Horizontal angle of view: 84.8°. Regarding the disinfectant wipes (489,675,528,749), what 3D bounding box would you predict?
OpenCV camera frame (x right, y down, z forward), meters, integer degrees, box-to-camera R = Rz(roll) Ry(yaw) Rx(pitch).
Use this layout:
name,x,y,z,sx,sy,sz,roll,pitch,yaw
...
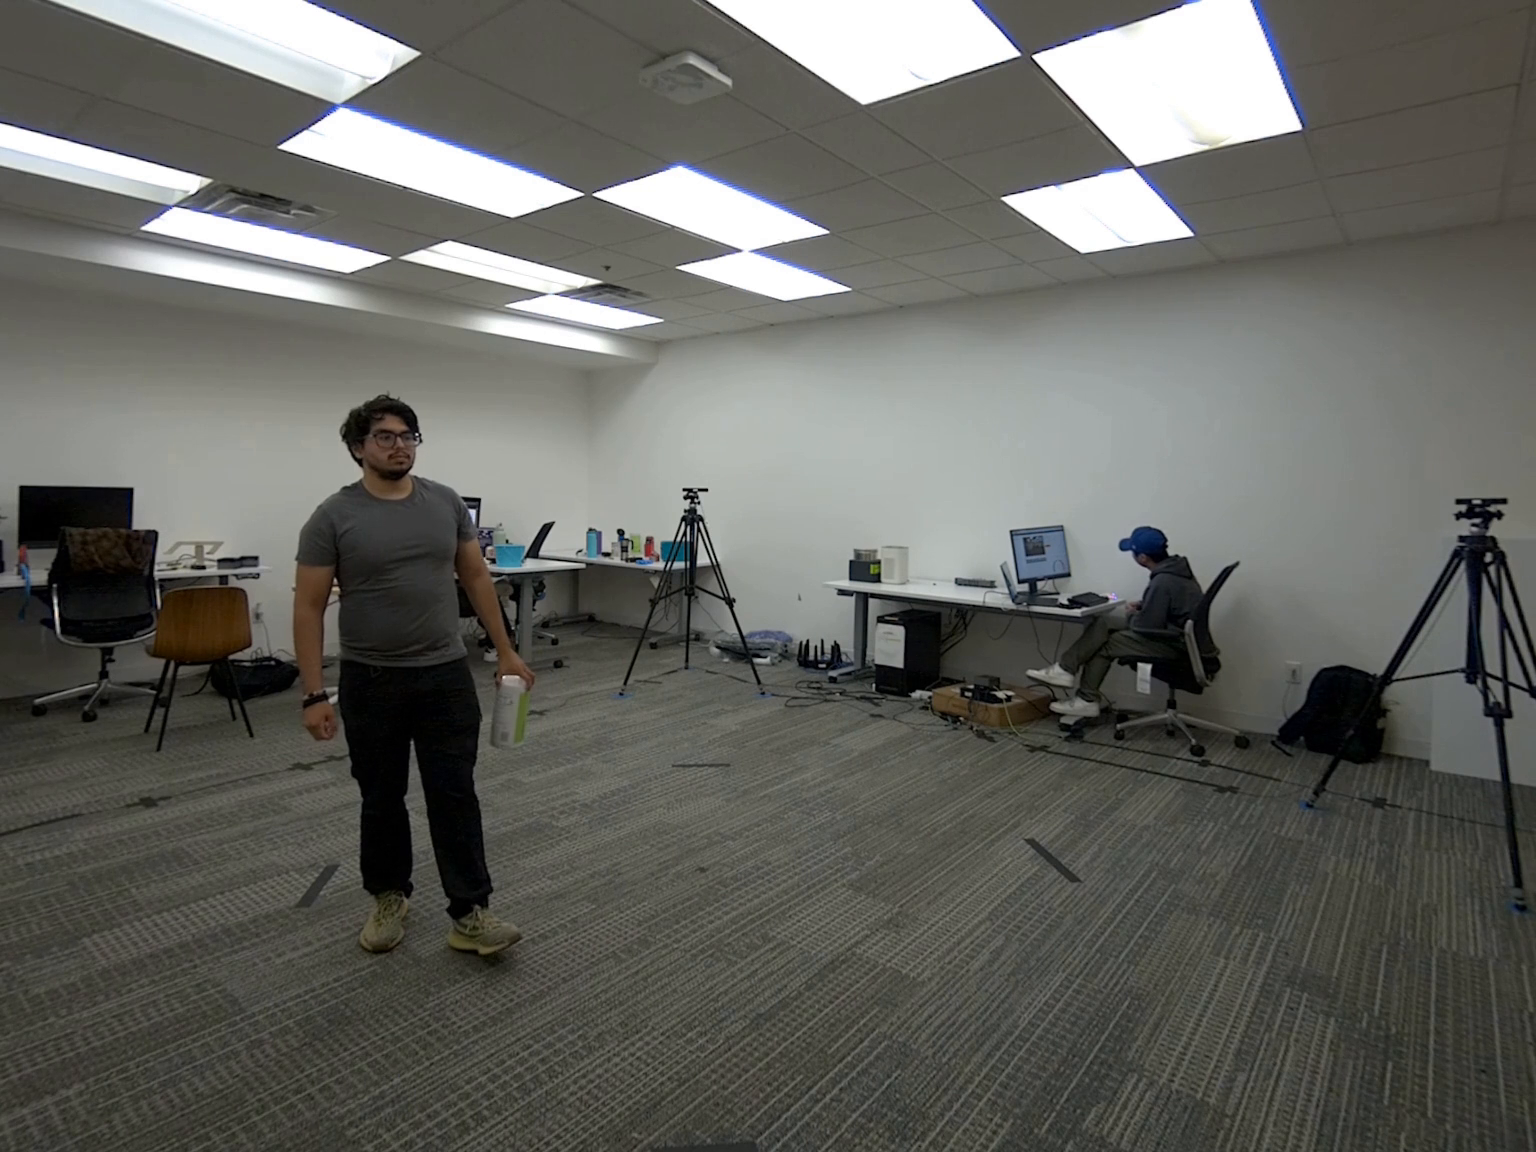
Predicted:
name,x,y,z,sx,sy,sz,roll,pitch,yaw
disinfectant wipes,-0.845,0.445,2.746,0.117,0.216,0.119,8,6,-3
